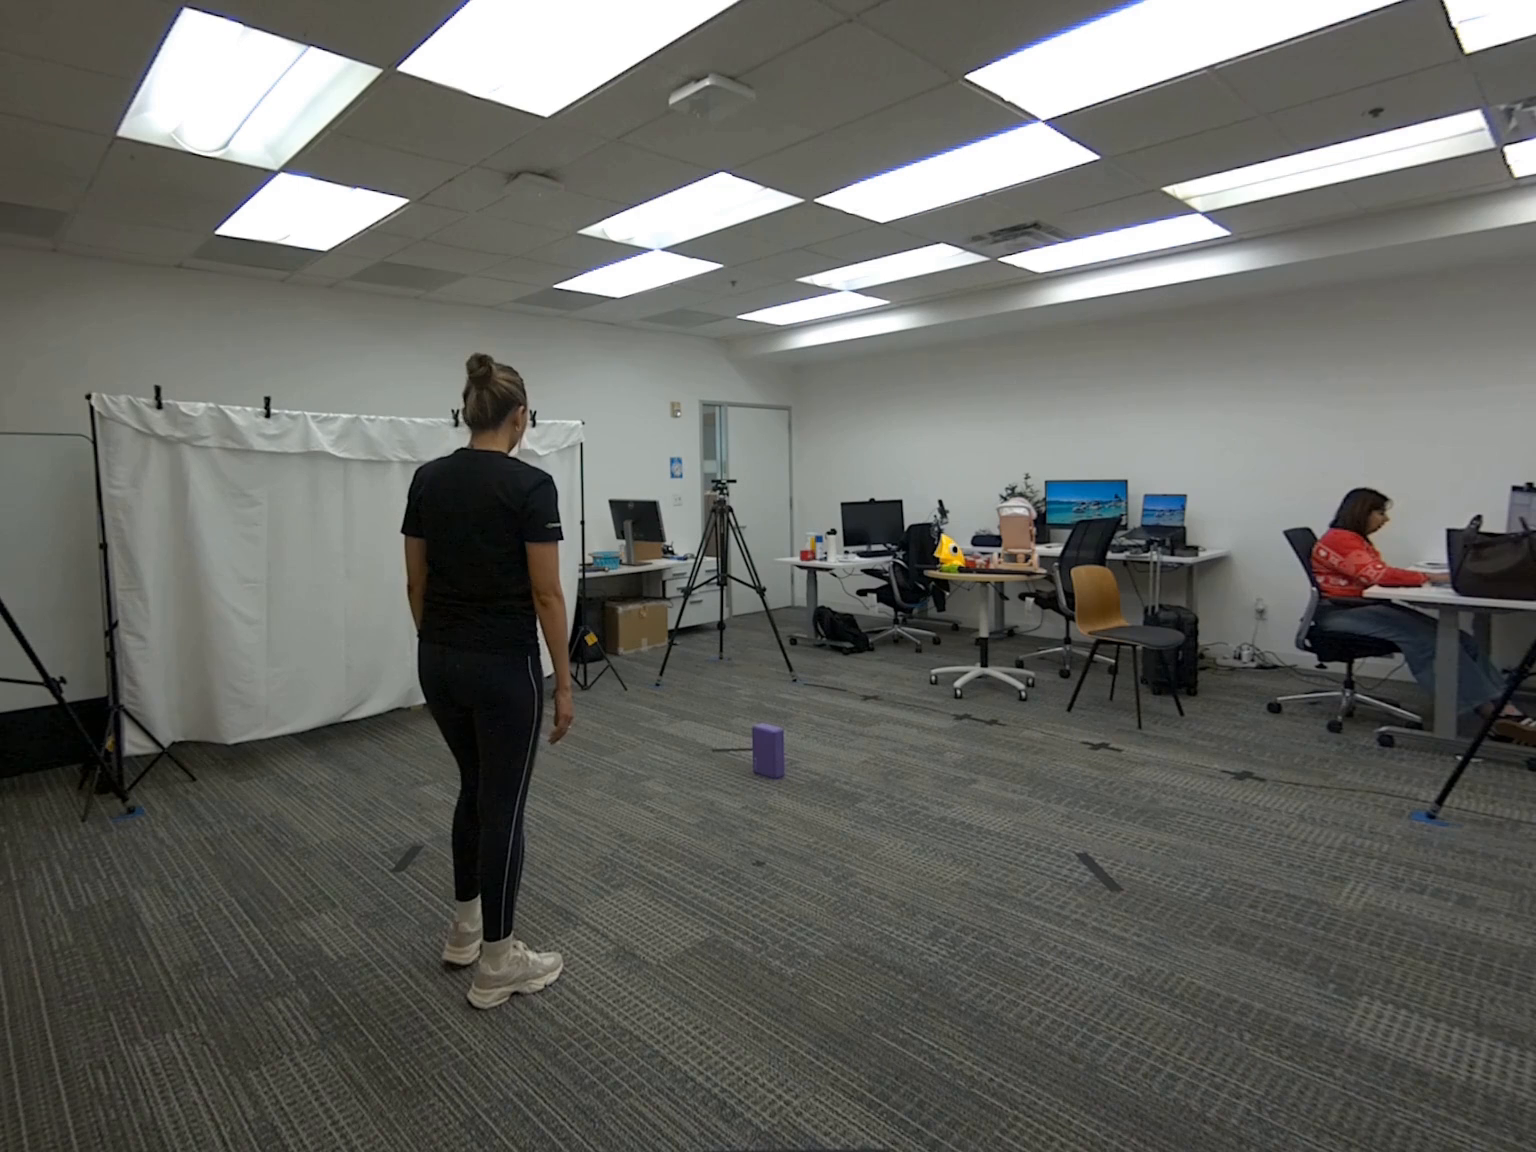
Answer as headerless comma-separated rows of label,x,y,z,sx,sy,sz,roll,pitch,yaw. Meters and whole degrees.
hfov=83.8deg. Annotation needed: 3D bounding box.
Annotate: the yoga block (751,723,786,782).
yoga block,0.002,0.827,4.049,0.153,0.228,0.074,4,7,43
